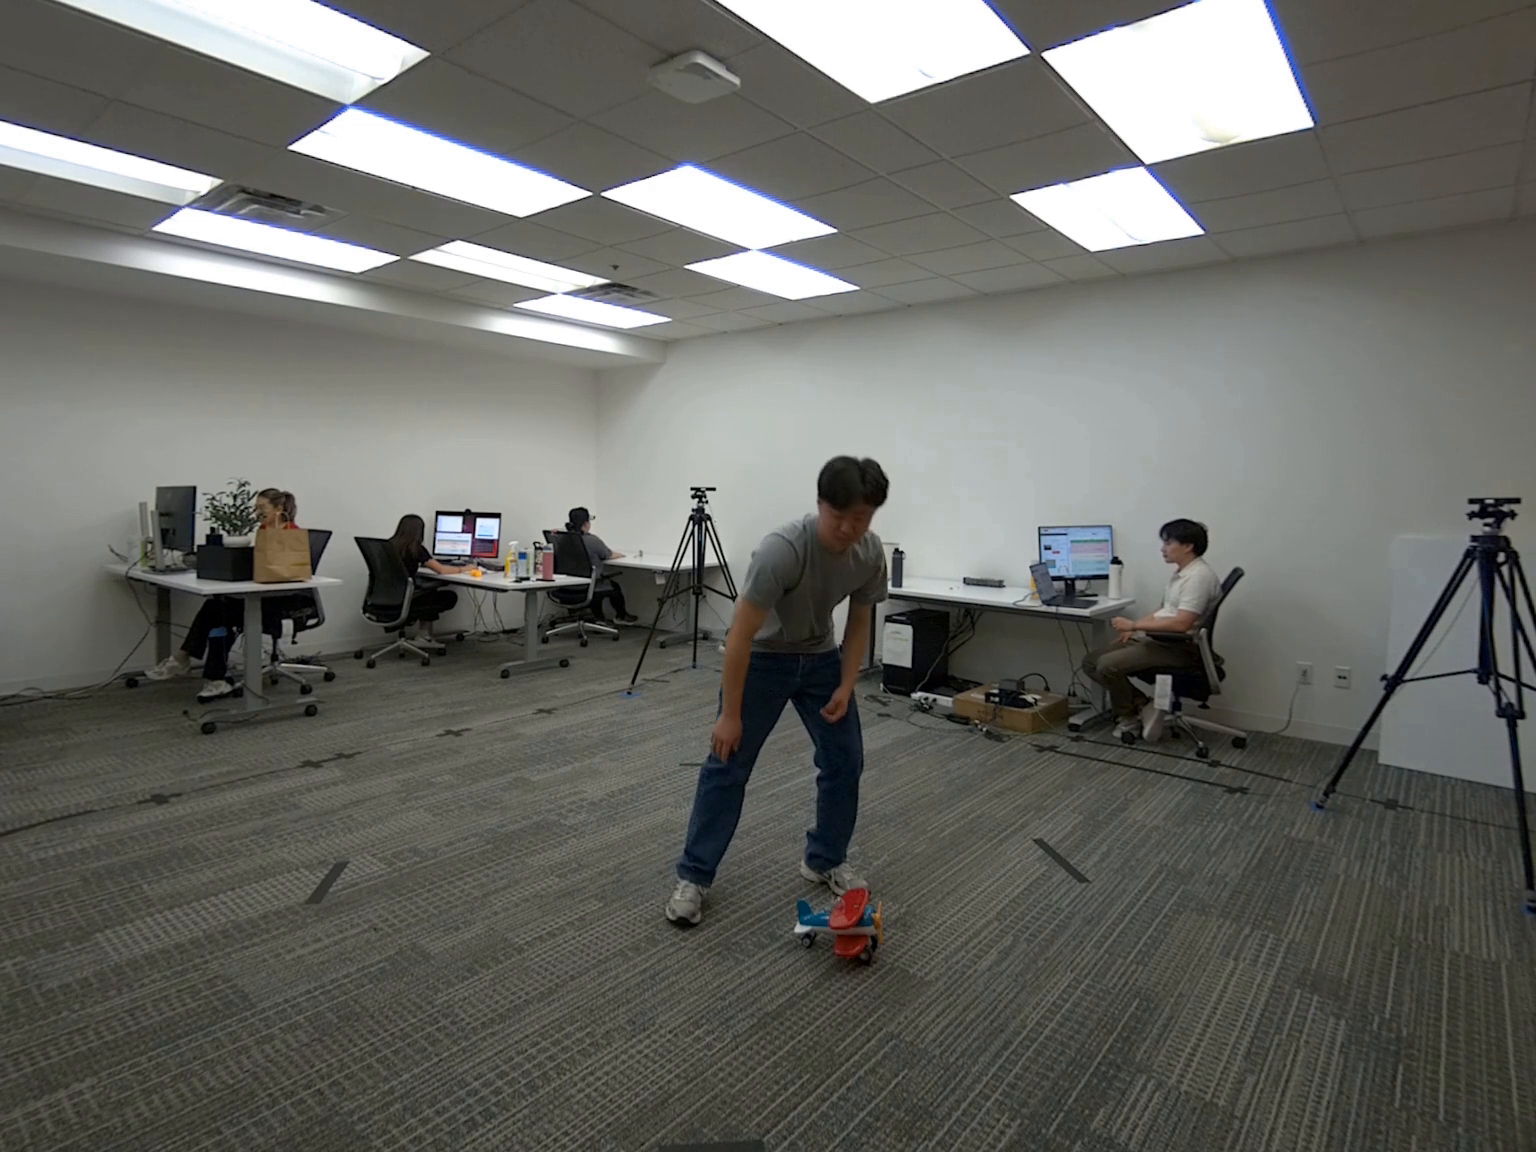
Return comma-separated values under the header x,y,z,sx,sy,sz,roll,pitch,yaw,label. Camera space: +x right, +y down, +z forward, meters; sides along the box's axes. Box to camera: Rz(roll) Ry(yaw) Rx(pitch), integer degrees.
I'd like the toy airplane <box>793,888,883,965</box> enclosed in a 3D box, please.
x,y,z,sx,sy,sz,roll,pitch,yaw,label
0.206,1.056,2.554,0.257,0.156,0.254,2,5,-8,toy airplane
